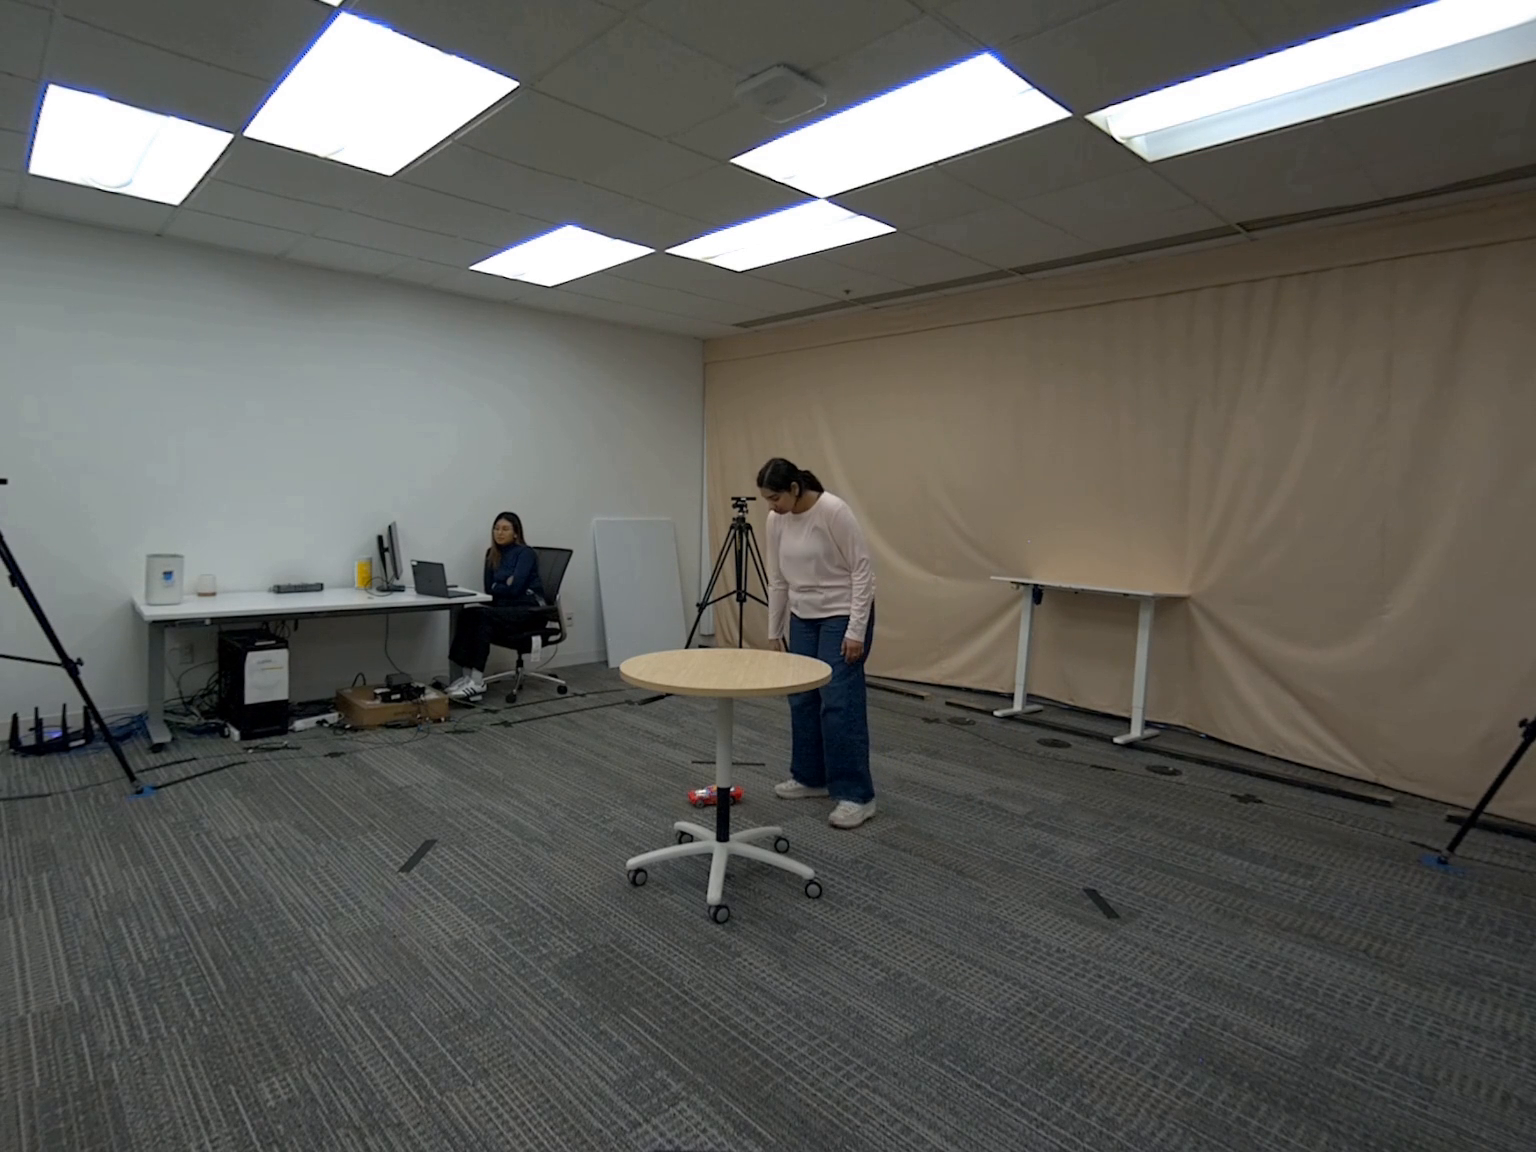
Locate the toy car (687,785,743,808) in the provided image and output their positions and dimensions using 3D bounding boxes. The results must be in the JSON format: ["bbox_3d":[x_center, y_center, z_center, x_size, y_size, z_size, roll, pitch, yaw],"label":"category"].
[{"bbox_3d":[-0.248,1.009,3.865,0.252,0.083,0.132,-11,8,-18],"label":"toy car"}]
